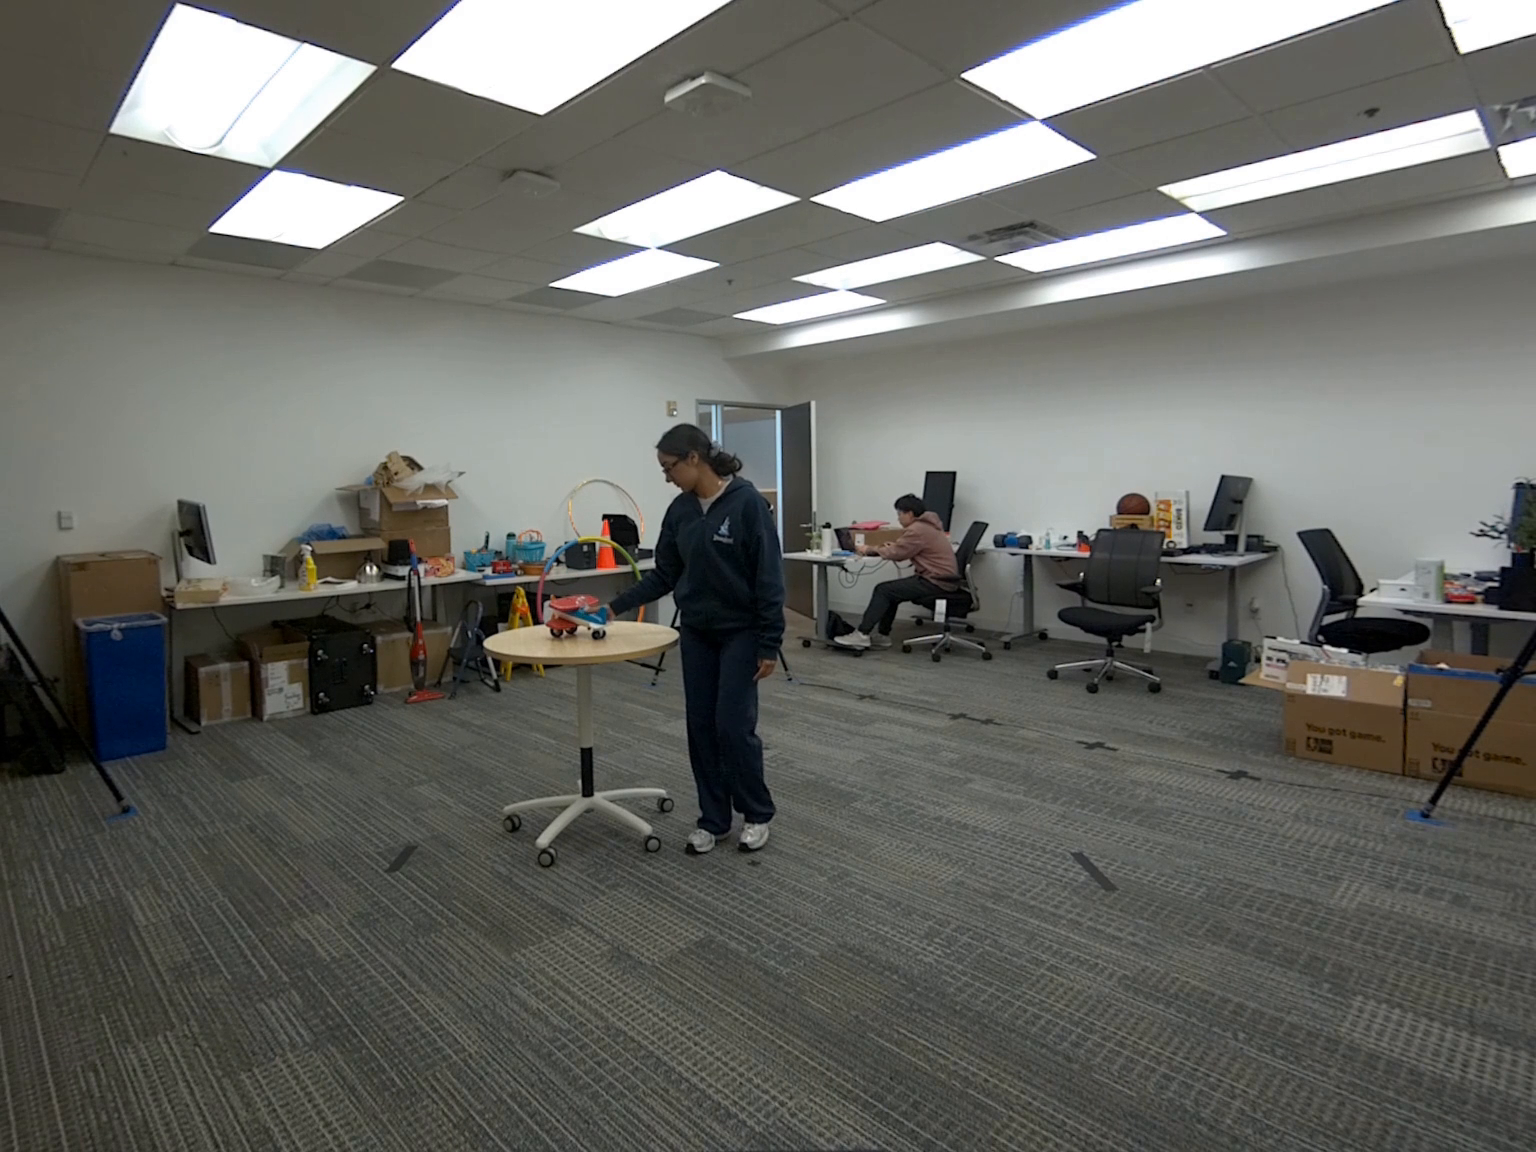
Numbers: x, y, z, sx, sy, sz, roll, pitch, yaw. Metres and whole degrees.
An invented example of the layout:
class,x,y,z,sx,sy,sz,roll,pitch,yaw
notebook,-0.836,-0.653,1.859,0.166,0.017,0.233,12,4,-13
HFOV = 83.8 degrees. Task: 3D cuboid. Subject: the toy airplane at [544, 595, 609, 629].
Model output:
class,x,y,z,sx,sy,sz,roll,pitch,yaw
toy airplane,-0.736,0.159,3.415,0.259,0.156,0.252,-2,5,0
